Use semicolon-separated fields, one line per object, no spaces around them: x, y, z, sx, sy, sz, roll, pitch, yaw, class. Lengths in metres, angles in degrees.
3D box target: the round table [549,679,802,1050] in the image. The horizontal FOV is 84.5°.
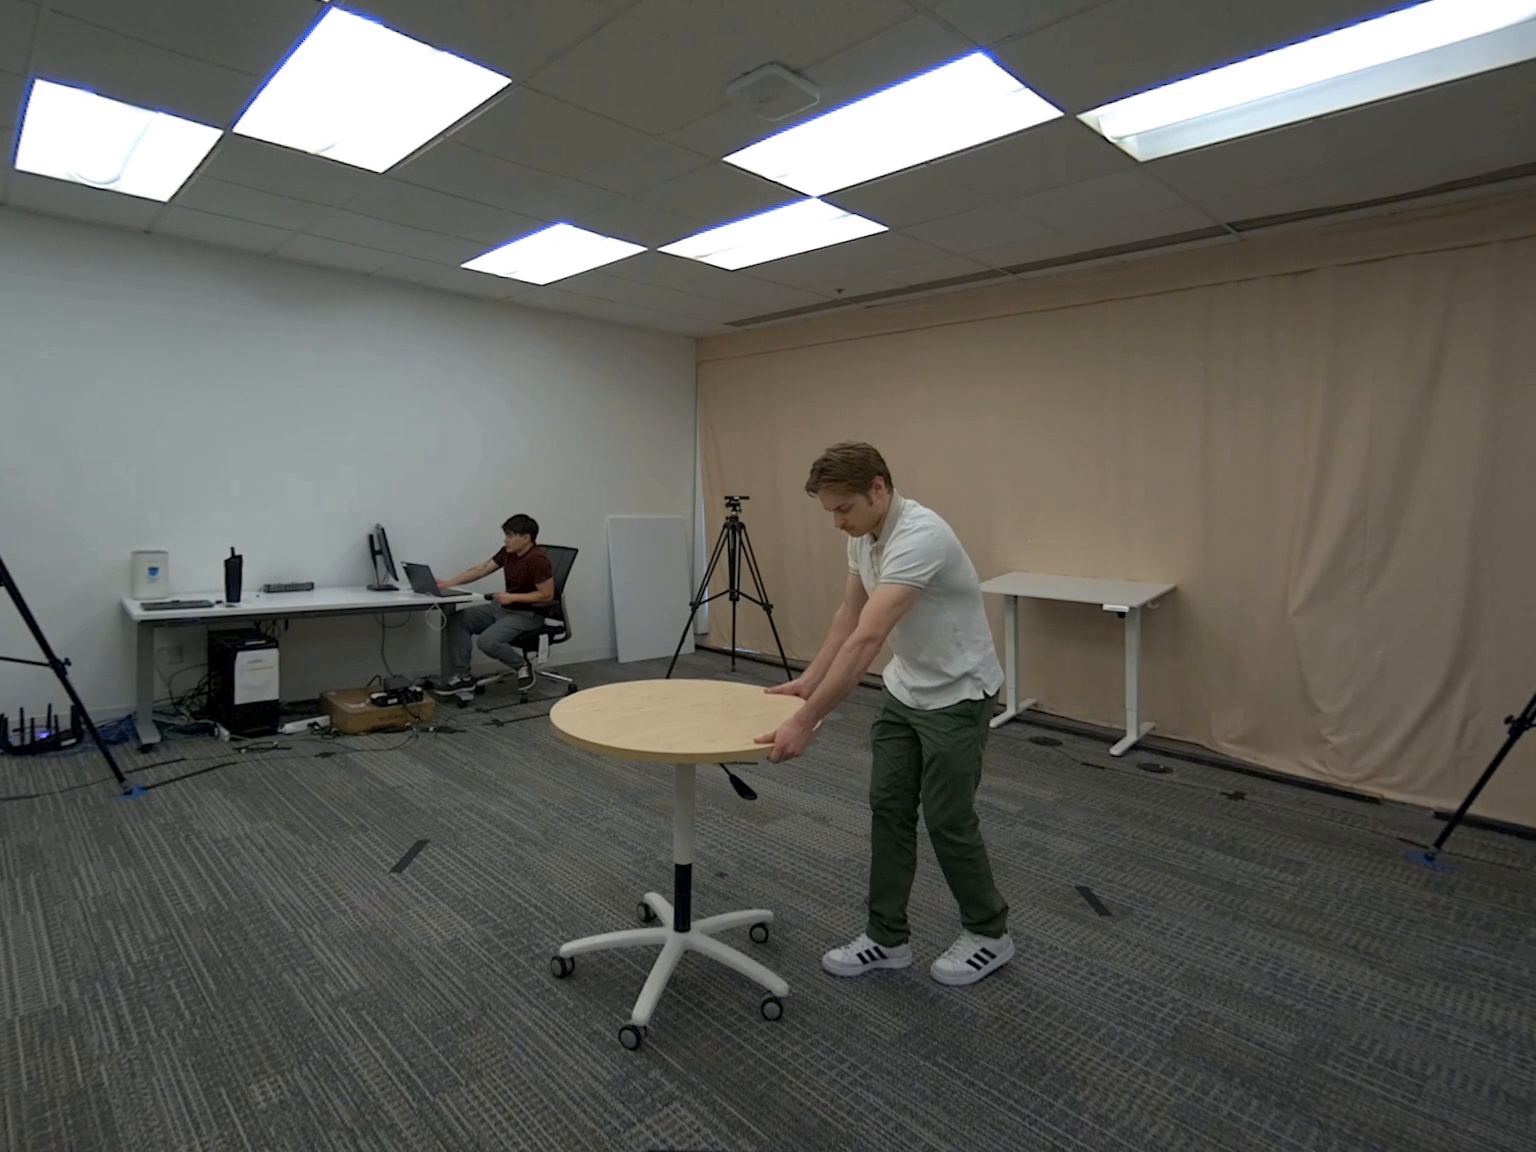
-0.236;0.767;2.439;0.784;0.784;0.788;1;5;-1;round table
